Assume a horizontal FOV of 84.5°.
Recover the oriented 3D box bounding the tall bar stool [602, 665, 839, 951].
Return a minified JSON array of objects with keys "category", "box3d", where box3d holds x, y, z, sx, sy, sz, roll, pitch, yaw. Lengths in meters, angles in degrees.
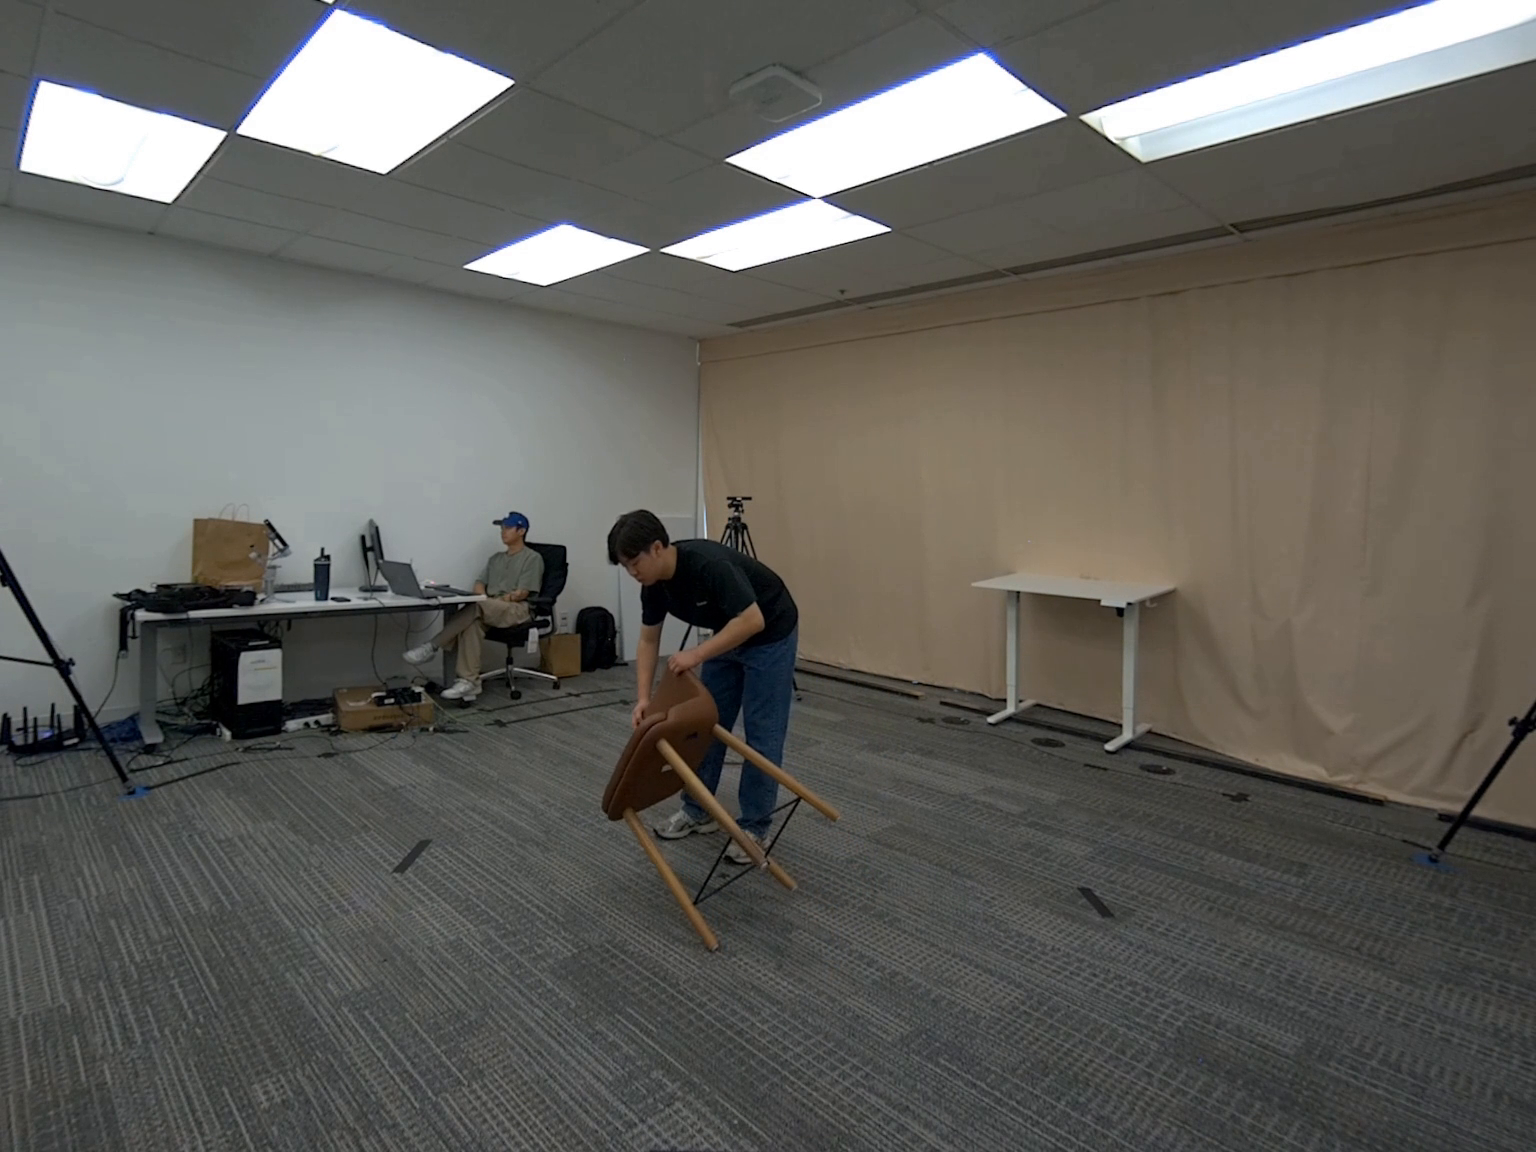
[{"category":"tall bar stool","box3d":[-0.261,0.717,2.883,0.914,0.453,0.458,41,29,28]}]
